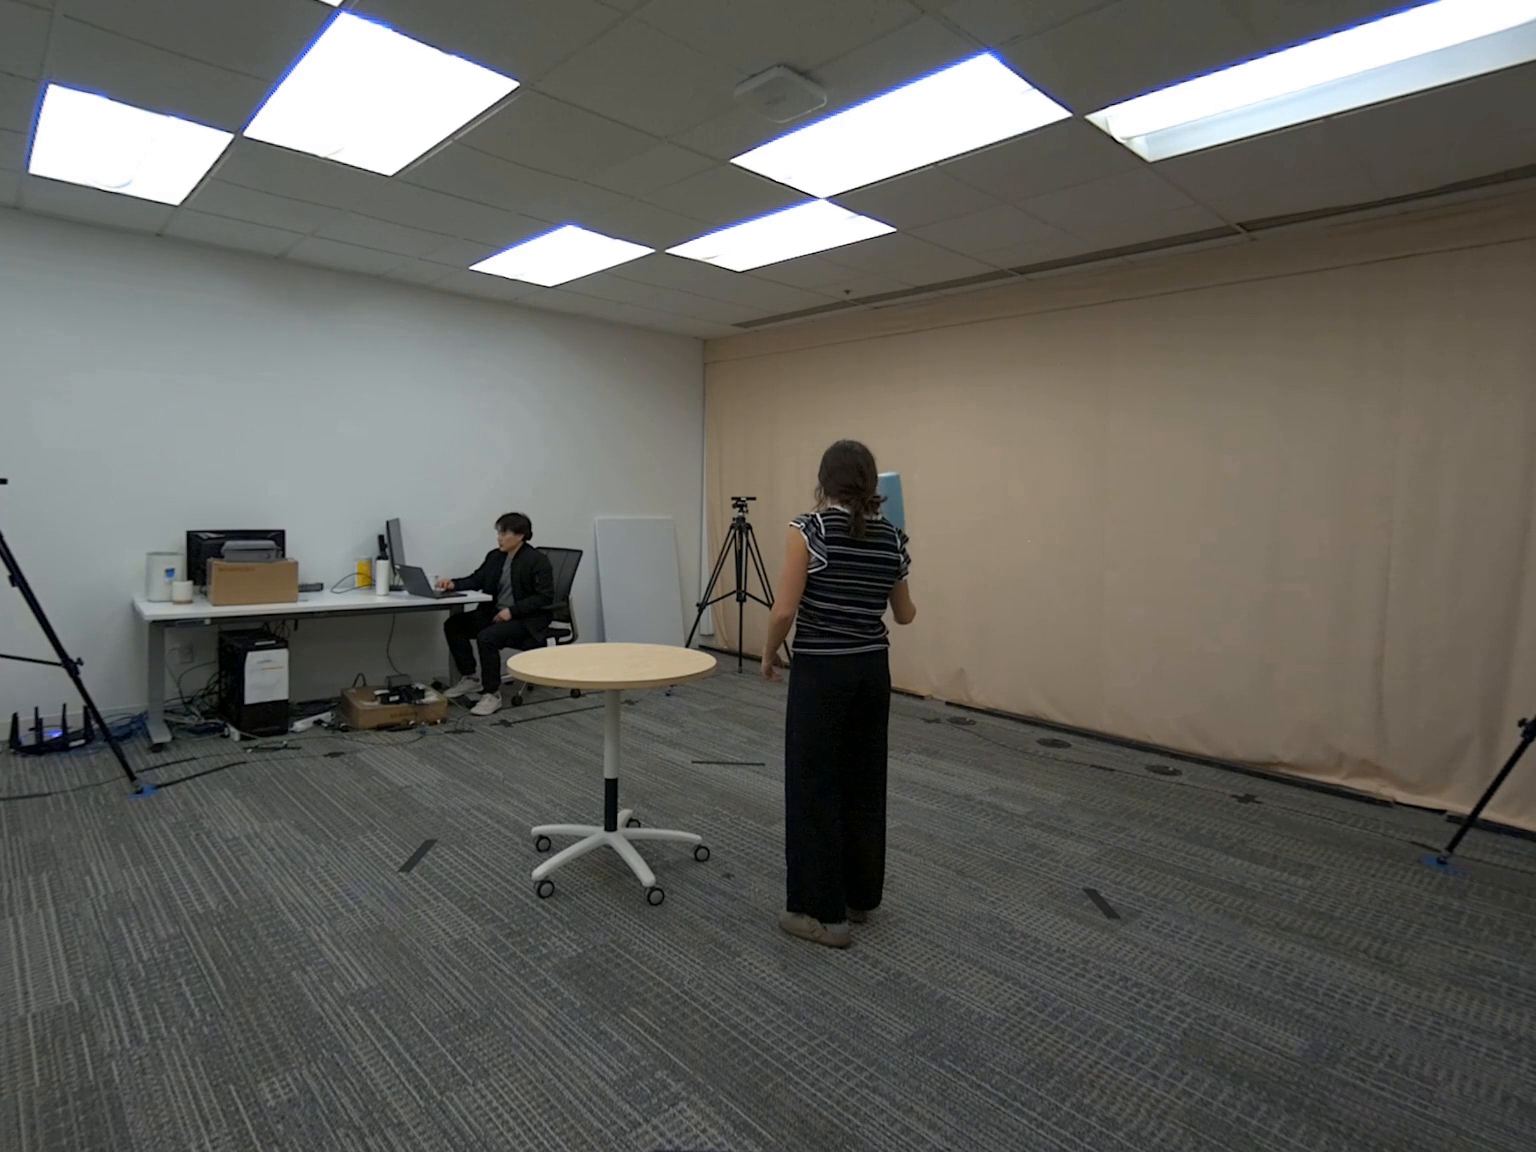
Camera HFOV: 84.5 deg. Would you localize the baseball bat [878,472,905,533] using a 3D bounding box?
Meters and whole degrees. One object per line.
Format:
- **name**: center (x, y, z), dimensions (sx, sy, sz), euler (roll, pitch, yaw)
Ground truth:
- **baseball bat**: center (0.457, -0.106, 3.104), dimensions (0.089, 0.538, 0.090), euler (-7, 10, 0)
